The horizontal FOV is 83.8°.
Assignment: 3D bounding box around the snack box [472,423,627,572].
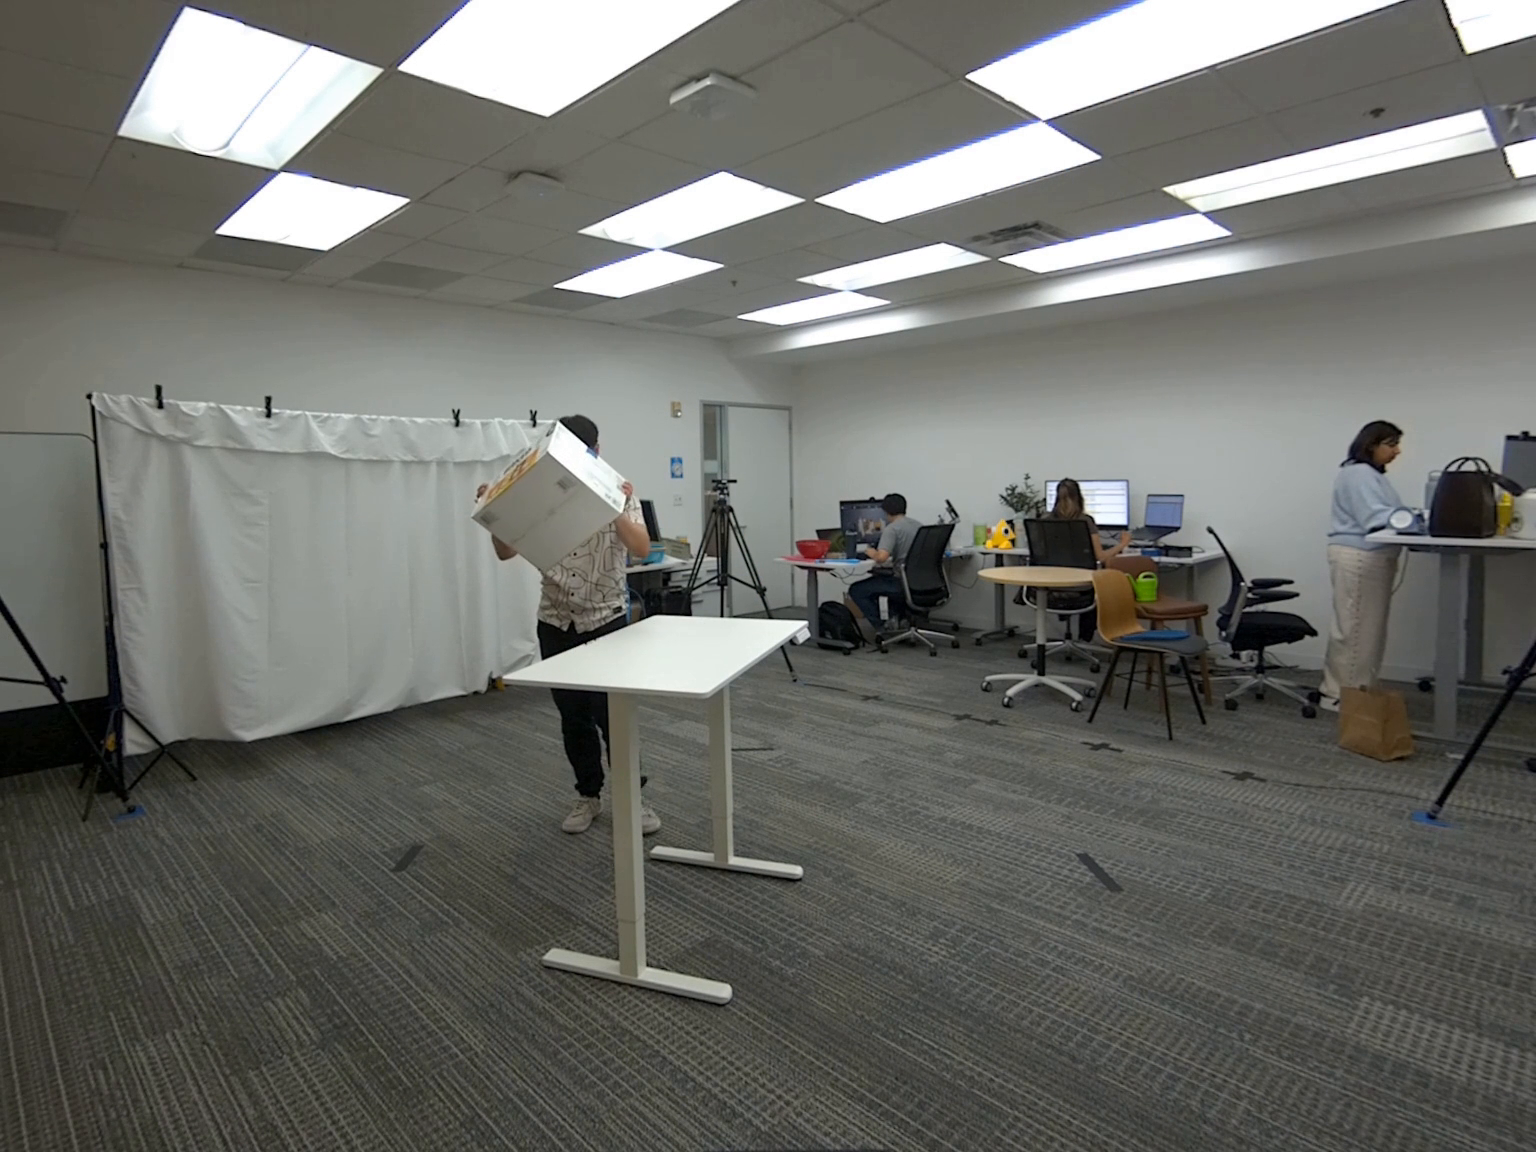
[{"bbox_3d":[-0.761,-0.265,3.003,0.407,0.330,0.211,-35,30,25],"label":"snack box"}]
